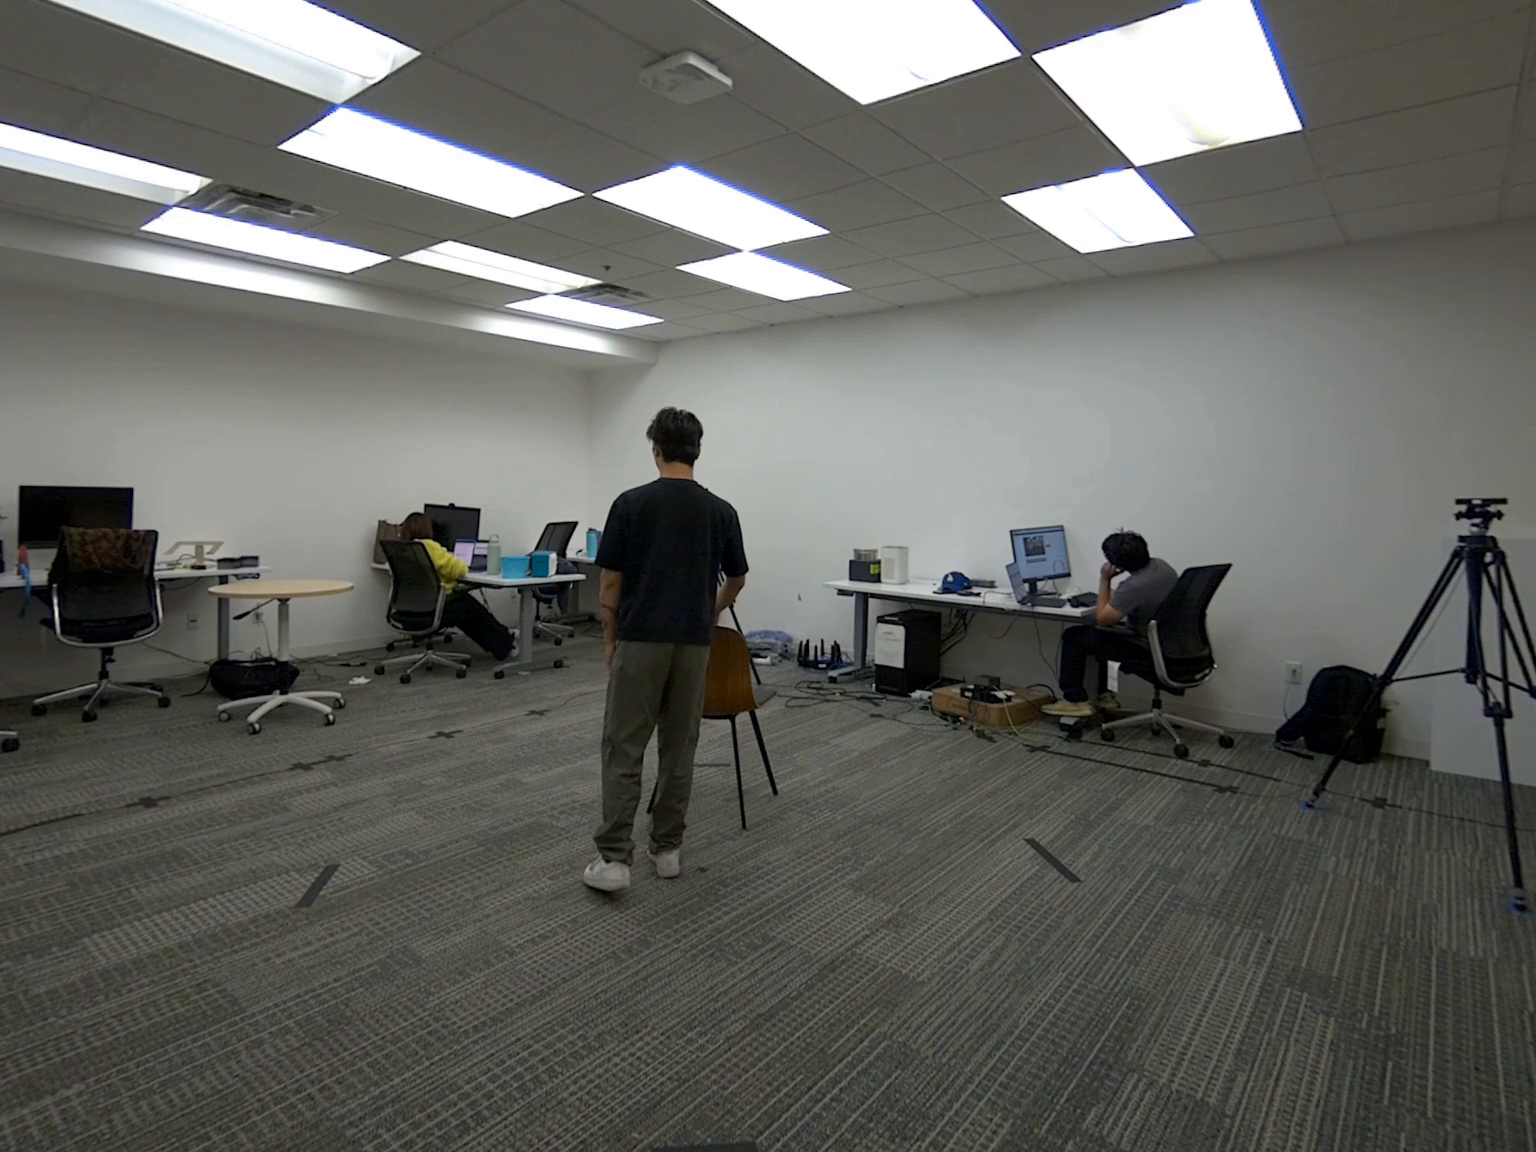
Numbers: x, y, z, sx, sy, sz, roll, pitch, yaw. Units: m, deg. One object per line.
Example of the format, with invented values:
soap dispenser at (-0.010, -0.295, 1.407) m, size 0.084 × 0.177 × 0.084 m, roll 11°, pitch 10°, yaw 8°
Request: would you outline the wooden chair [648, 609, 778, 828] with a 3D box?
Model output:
wooden chair at (-0.240, 0.577, 3.749) m, size 0.488 × 0.871 × 0.516 m, roll 2°, pitch 8°, yaw 20°
